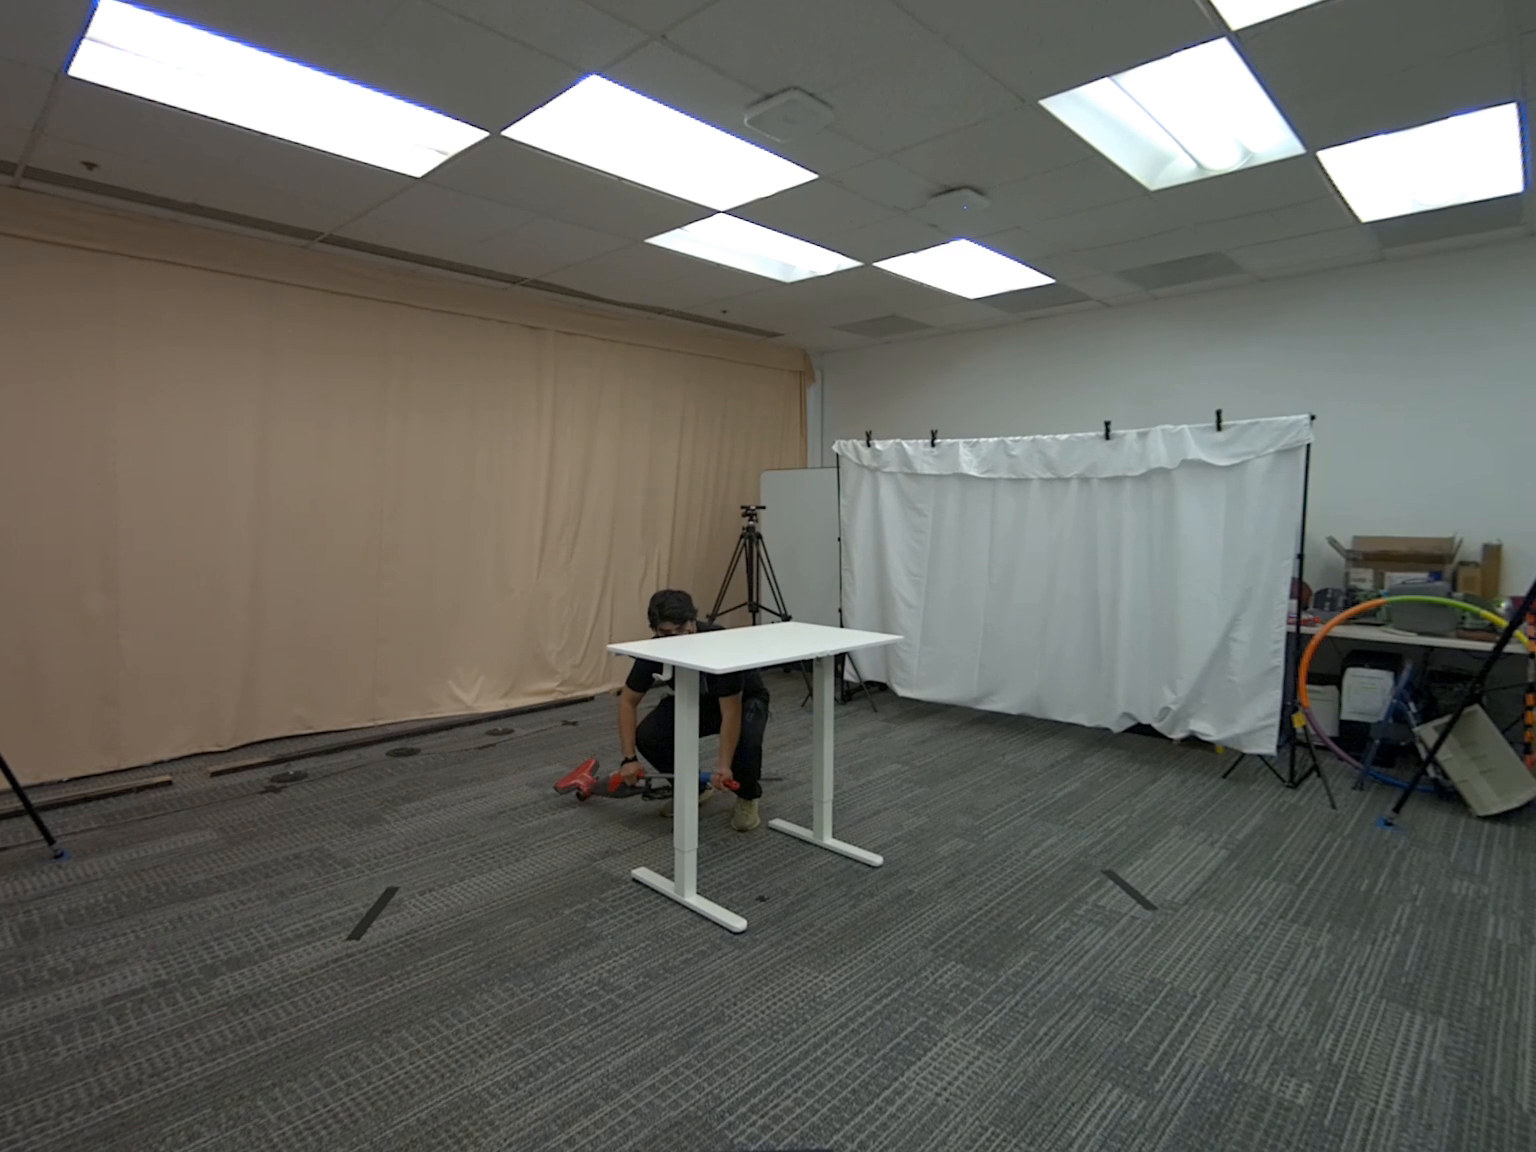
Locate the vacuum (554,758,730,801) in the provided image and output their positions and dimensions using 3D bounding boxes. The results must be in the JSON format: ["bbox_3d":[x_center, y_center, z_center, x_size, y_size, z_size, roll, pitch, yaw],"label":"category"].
[{"bbox_3d":[-0.508,0.899,3.579,1.079,0.143,0.247,-9,13,46],"label":"vacuum"}]
